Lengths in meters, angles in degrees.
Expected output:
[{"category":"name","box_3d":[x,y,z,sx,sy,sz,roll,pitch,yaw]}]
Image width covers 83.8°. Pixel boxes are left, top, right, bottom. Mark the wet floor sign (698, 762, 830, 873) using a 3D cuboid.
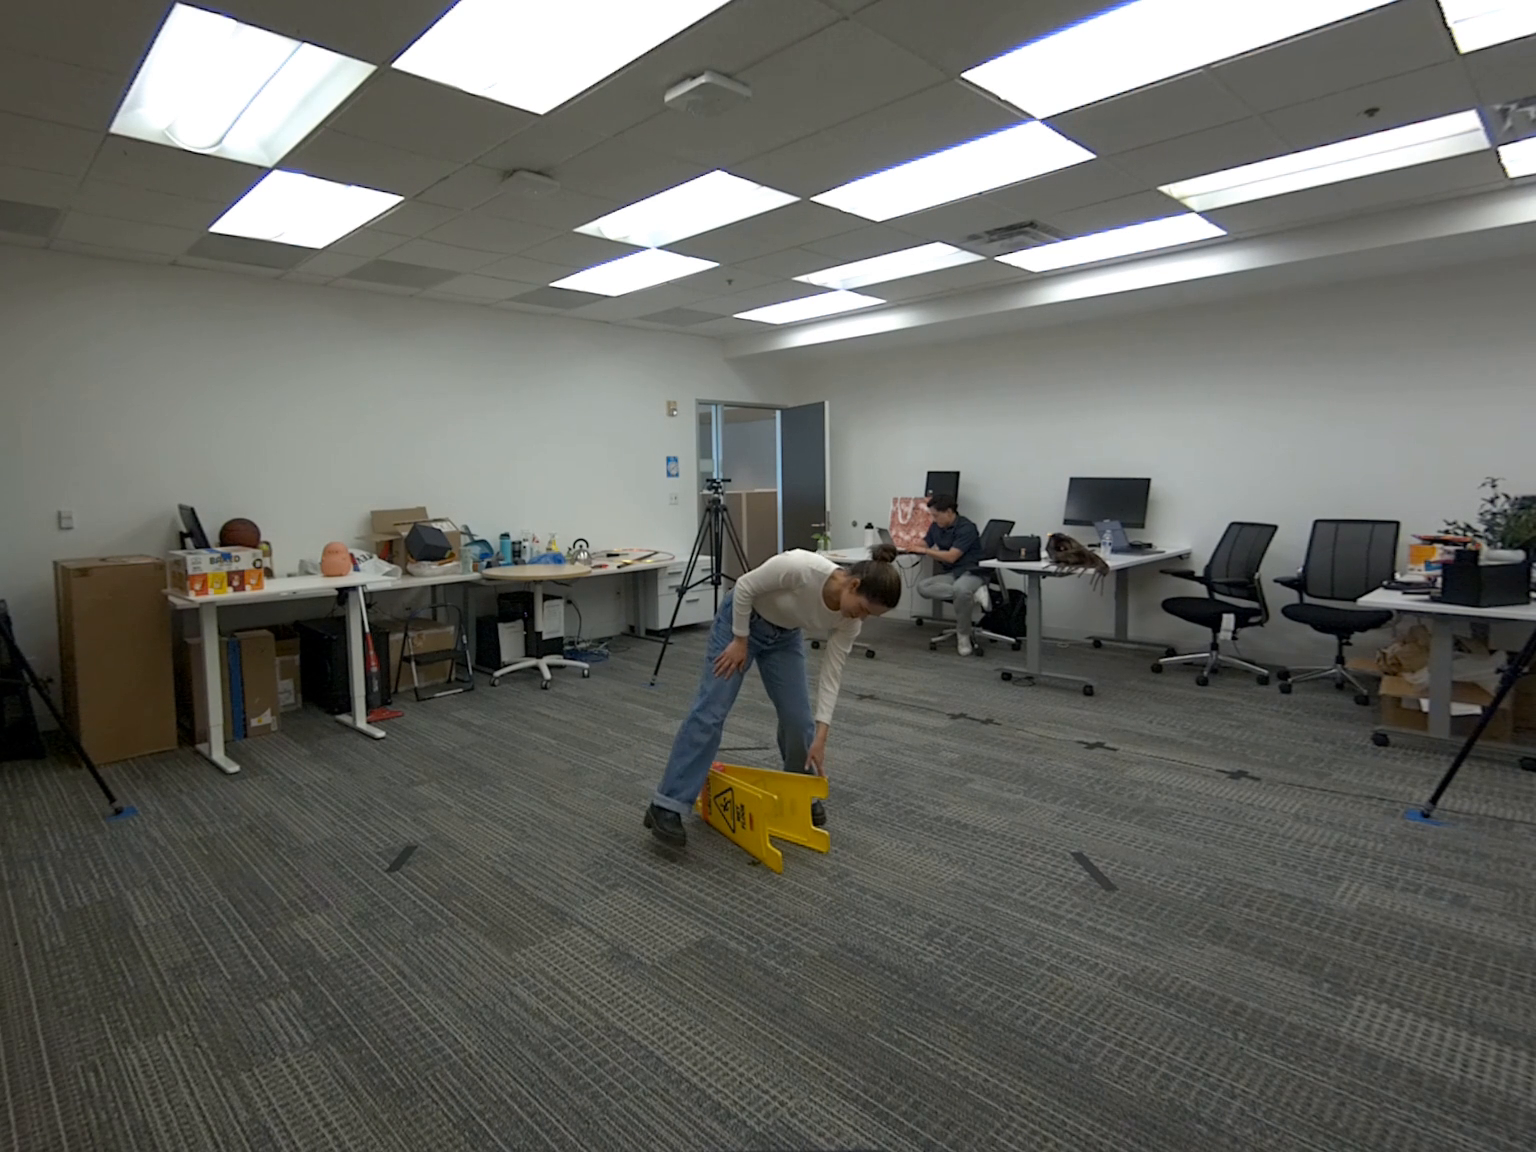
[{"category":"wet floor sign","box_3d":[-0.096,0.889,3.333,0.282,0.281,0.665,-6,6,-43]}]
